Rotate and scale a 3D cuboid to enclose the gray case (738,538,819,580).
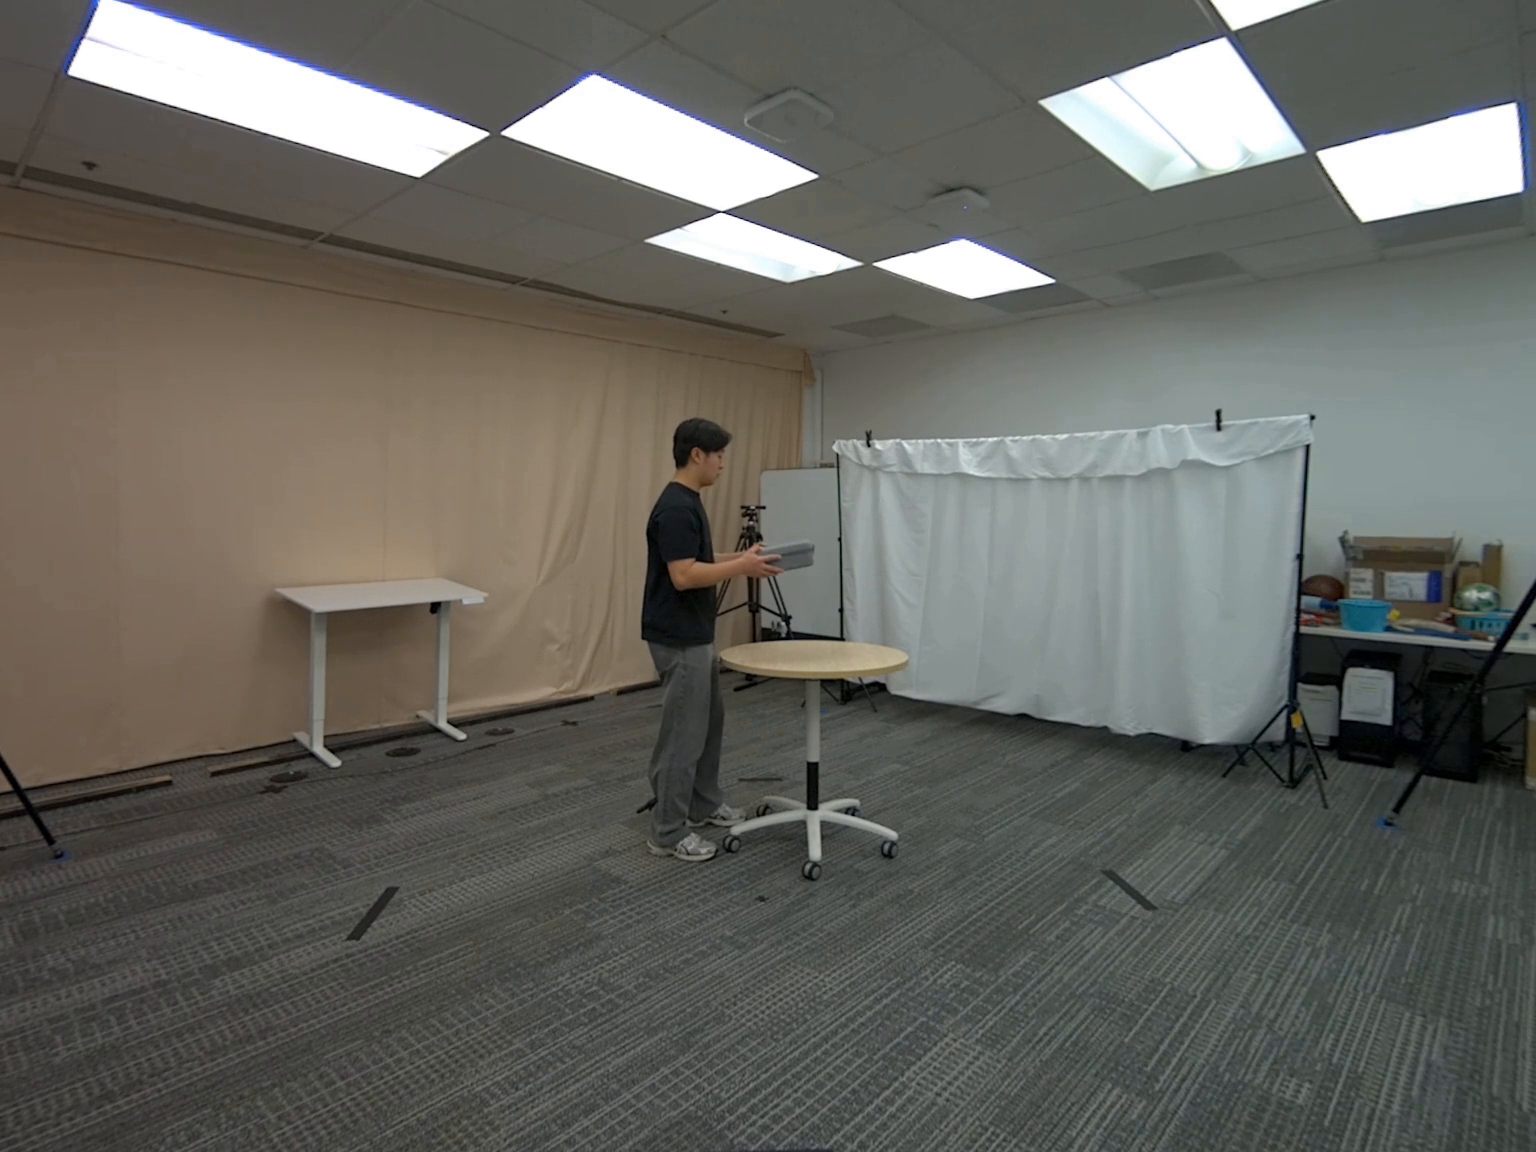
[{"bbox_3d":[0.037,-0.073,3.419,0.291,0.103,0.260,-8,4,13],"label":"gray case"}]
